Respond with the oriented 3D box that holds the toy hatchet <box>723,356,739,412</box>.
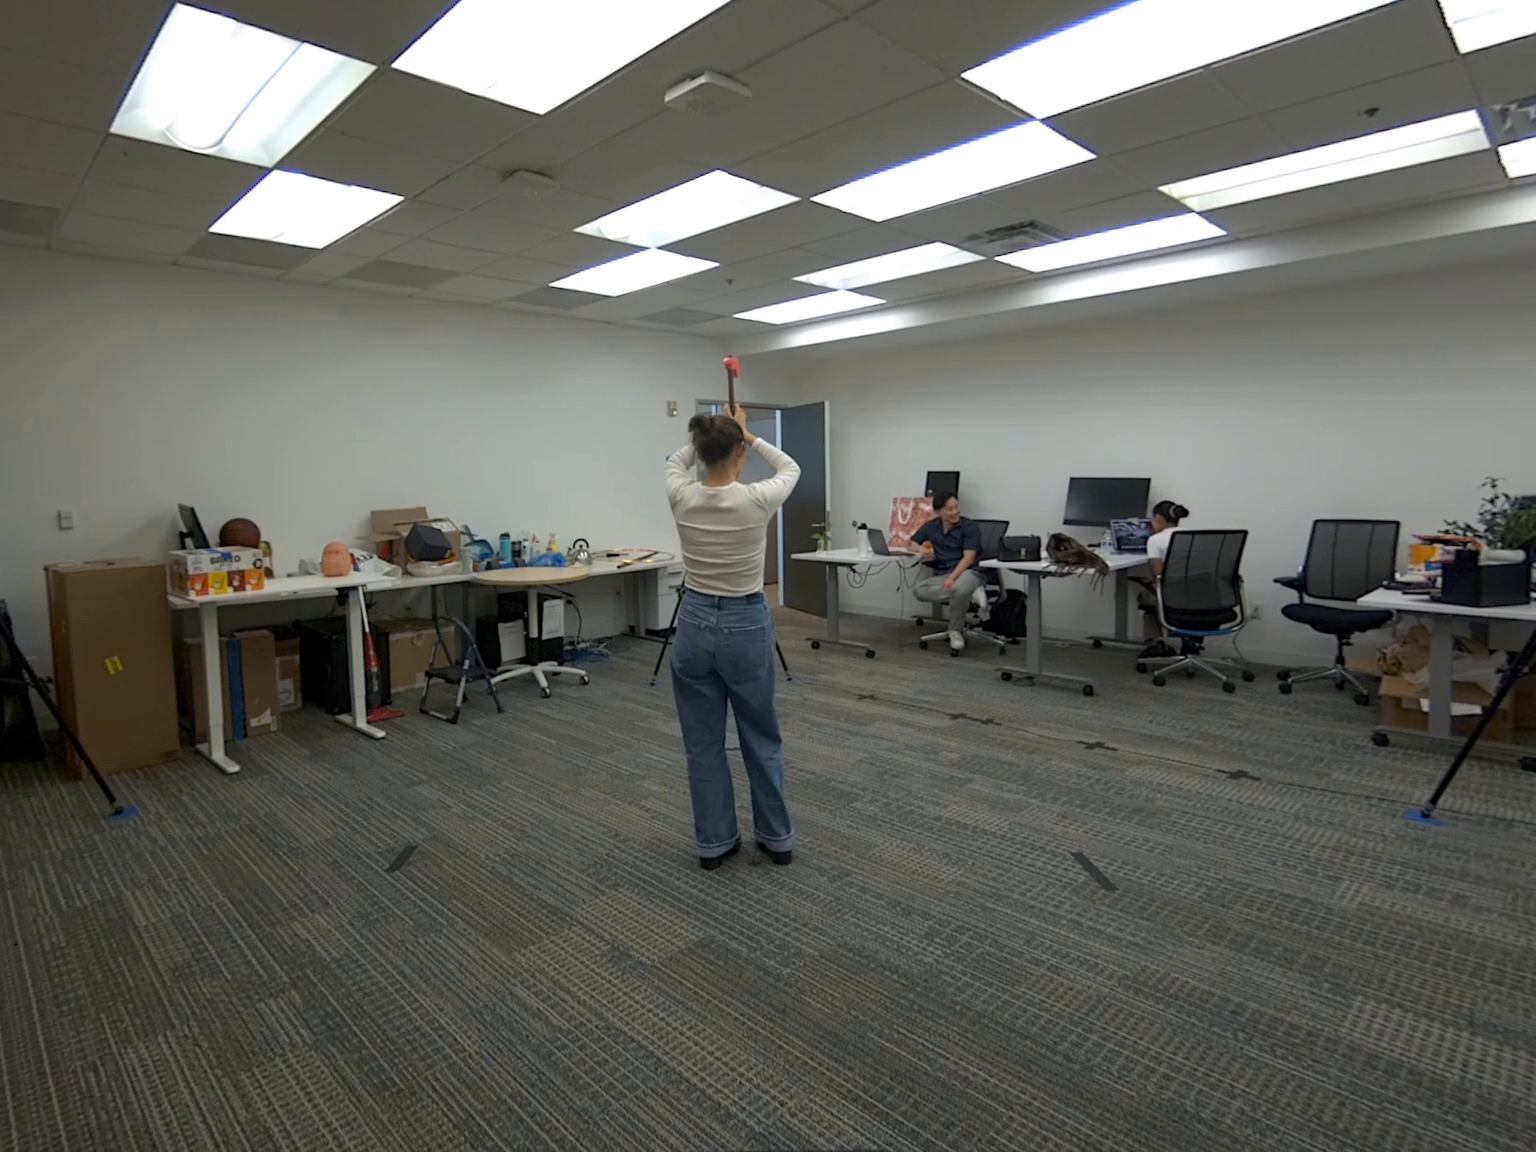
[{"bbox_3d":[-0.120,-0.695,3.186,0.030,0.264,0.132,2,27,16],"label":"toy hatchet"}]
